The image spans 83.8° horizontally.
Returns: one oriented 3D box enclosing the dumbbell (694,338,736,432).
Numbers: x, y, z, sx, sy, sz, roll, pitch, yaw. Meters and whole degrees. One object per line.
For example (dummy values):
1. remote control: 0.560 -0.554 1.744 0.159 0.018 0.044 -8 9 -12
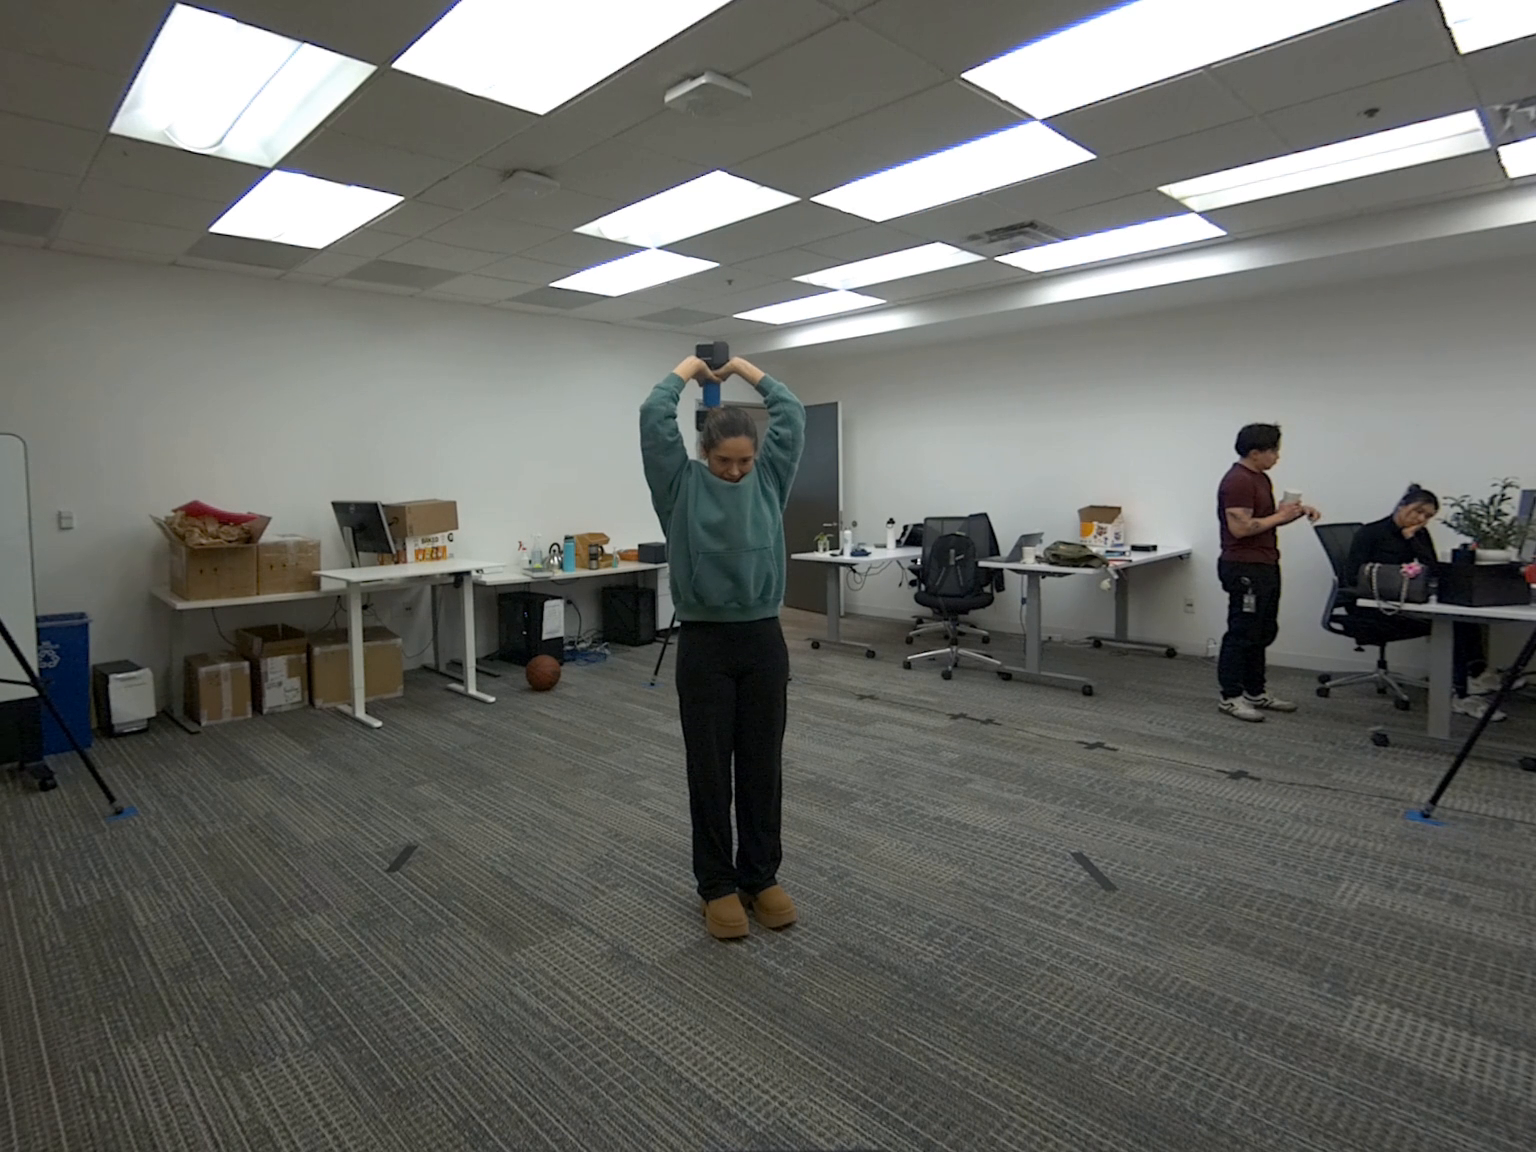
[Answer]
1. dumbbell: -0.177 -0.625 2.815 0.107 0.291 0.125 -2 9 -14
